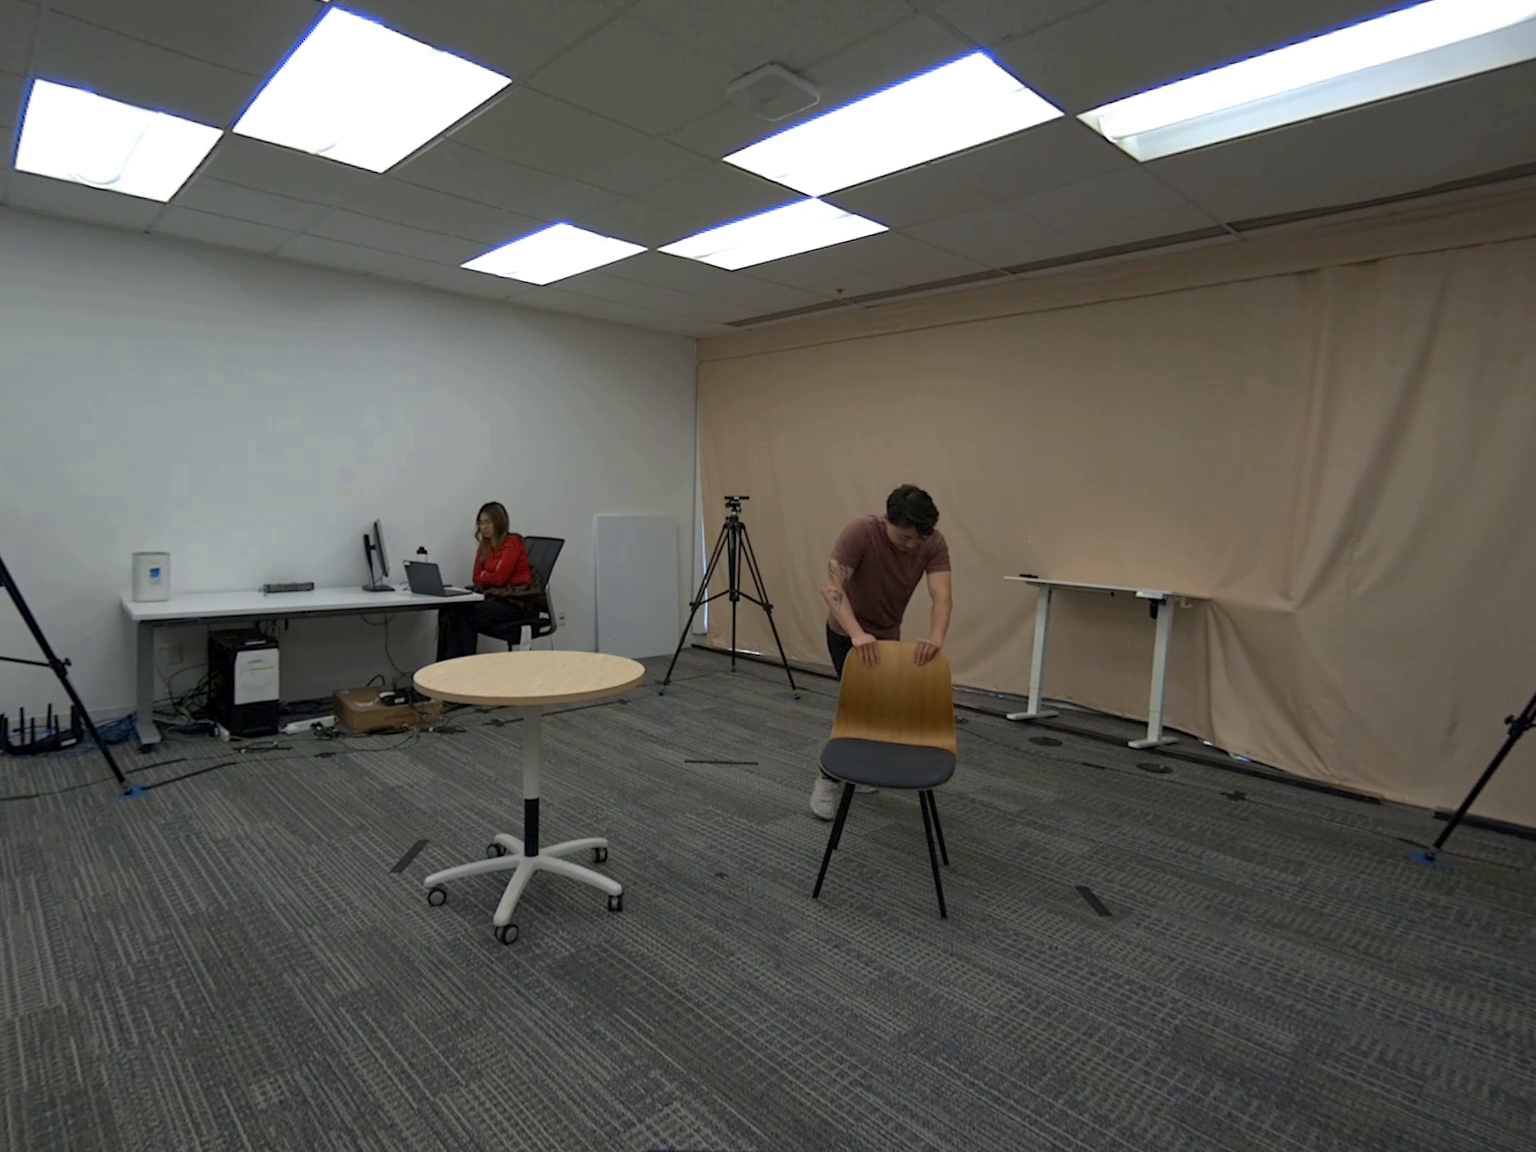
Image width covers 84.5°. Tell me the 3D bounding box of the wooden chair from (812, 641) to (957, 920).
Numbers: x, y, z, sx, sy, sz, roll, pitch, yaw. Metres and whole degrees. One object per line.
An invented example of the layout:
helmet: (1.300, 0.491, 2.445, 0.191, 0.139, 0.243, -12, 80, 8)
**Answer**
wooden chair: (0.424, 0.694, 3.052, 0.484, 0.878, 0.516, 2, -1, 15)
